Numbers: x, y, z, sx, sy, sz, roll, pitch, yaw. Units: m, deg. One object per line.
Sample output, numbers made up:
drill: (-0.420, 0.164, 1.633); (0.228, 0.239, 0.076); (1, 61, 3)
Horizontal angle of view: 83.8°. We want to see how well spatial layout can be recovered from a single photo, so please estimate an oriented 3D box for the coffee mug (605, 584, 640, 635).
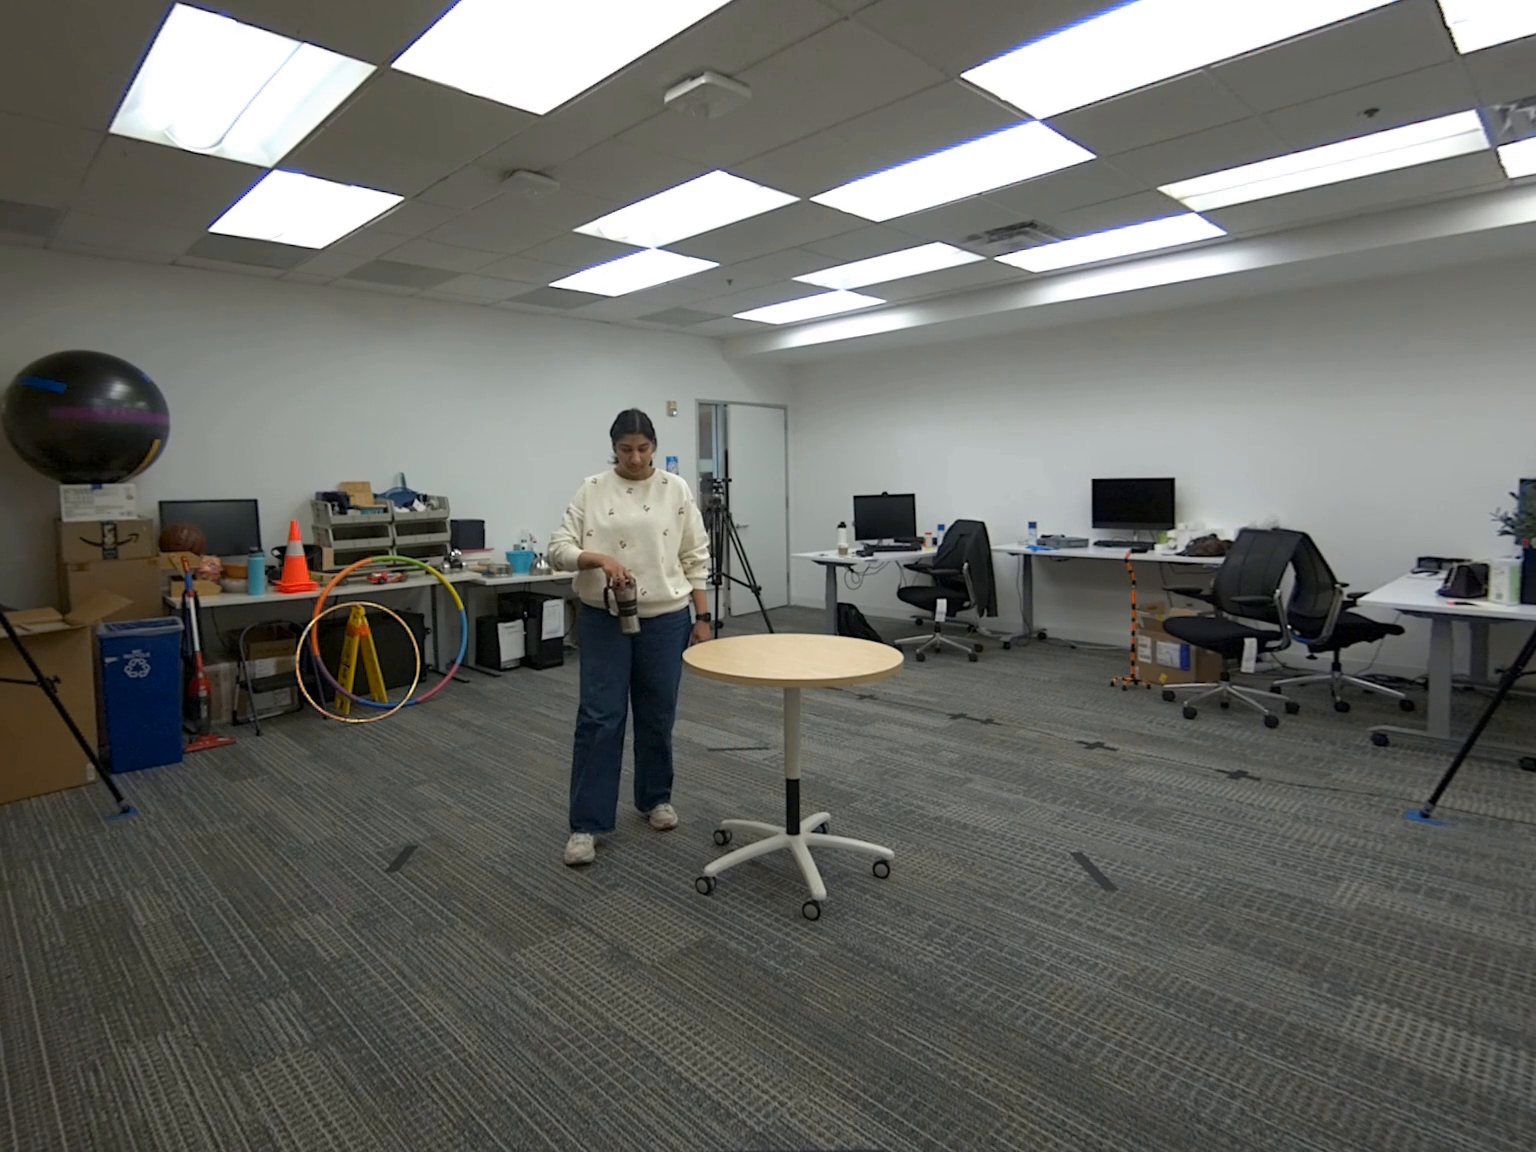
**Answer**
coffee mug: (-0.534, 0.115, 3.128); (0.086, 0.201, 0.125); (-15, 12, -27)
